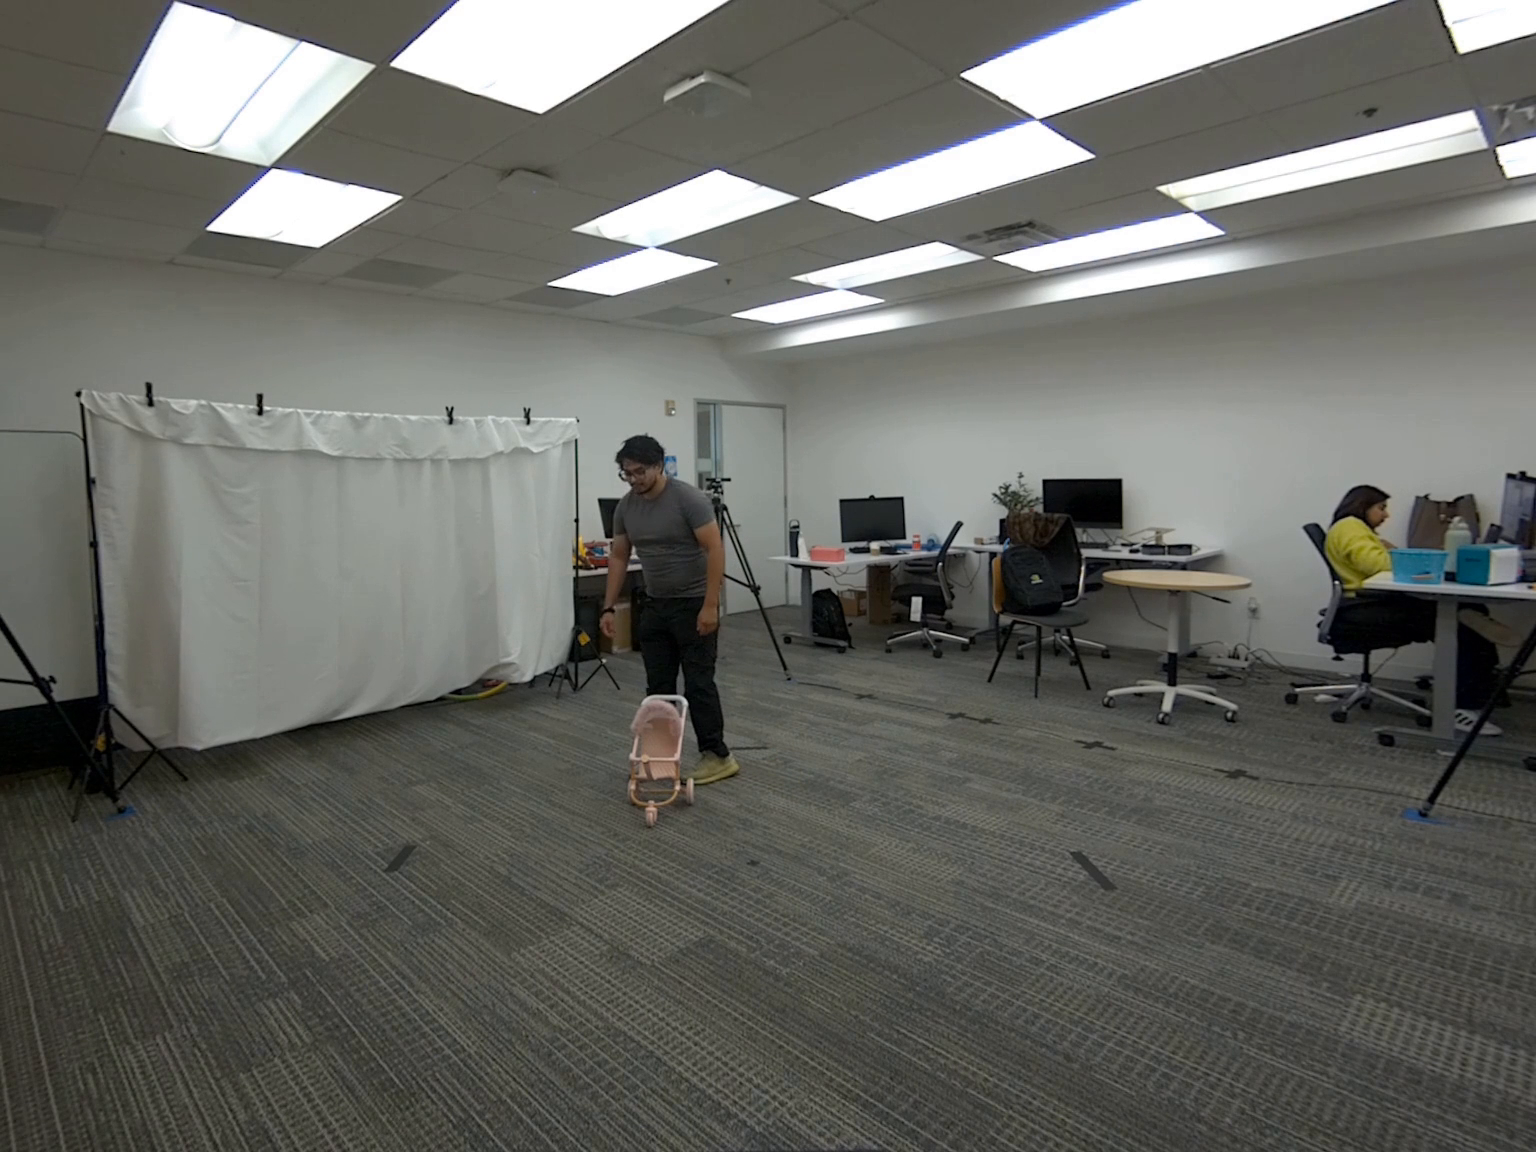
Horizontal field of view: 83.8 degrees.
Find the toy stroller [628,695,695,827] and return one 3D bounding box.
[{"bbox_3d":[-0.472,0.769,3.624,0.284,0.541,0.335,-1,-12,7],"label":"toy stroller"}]
